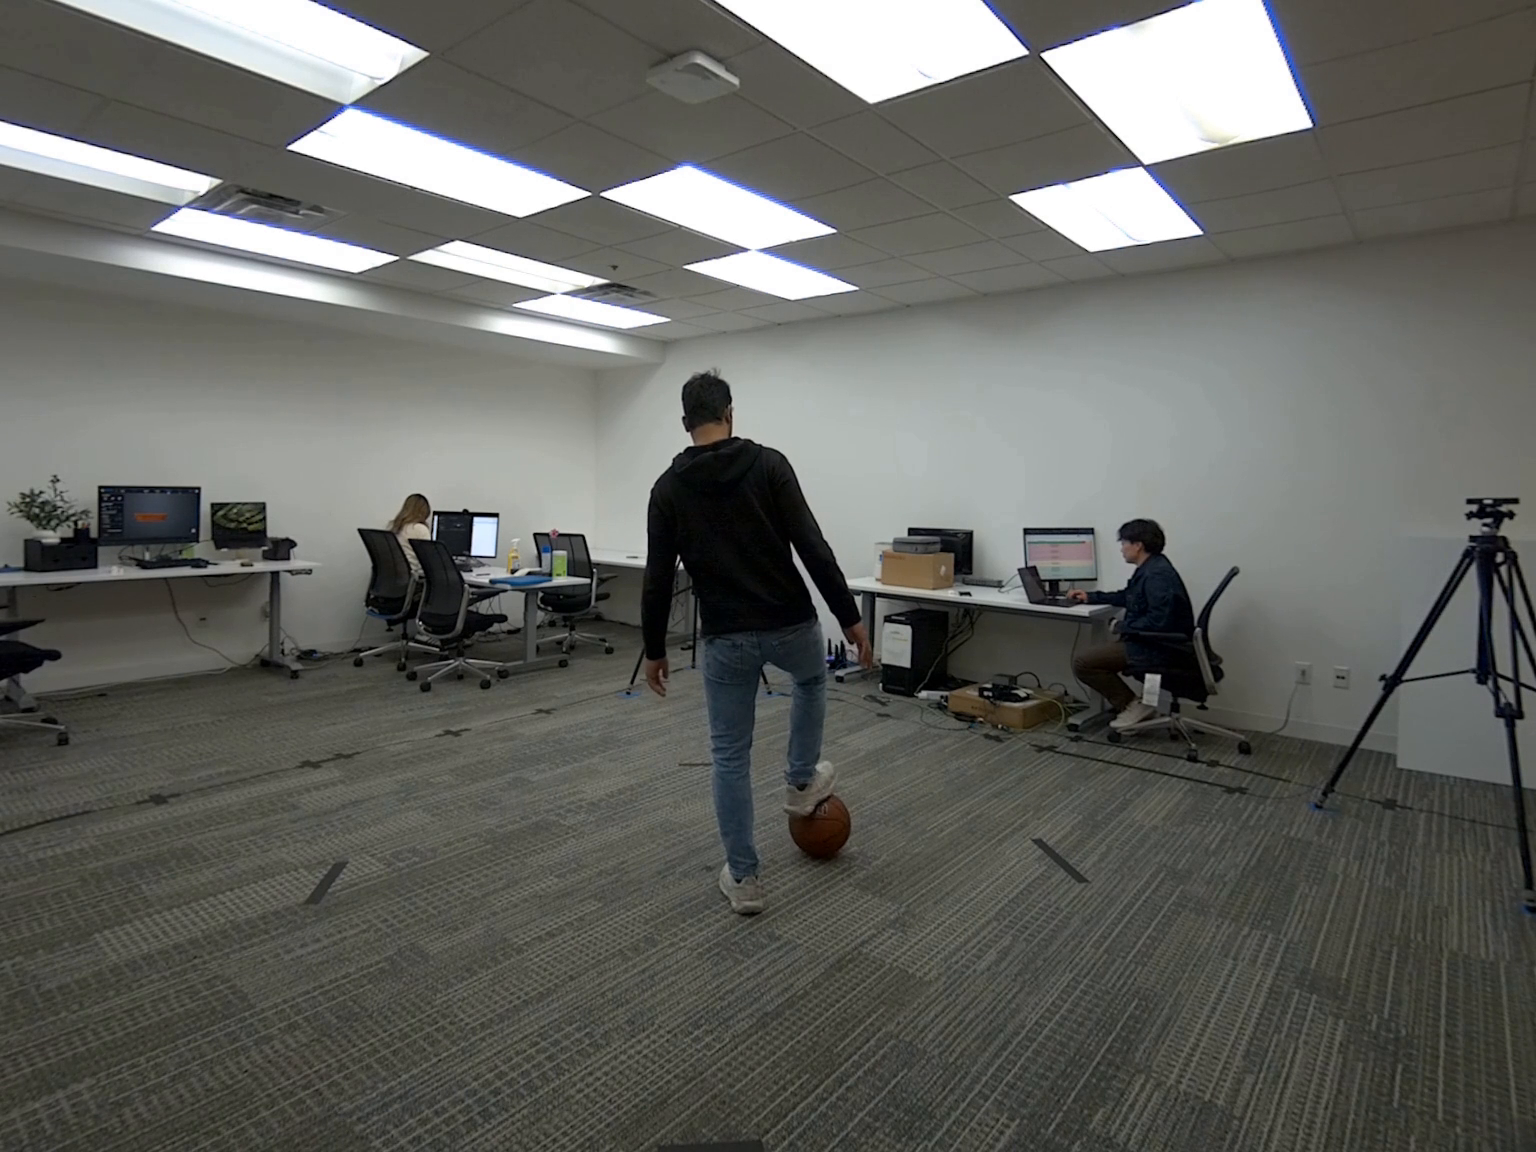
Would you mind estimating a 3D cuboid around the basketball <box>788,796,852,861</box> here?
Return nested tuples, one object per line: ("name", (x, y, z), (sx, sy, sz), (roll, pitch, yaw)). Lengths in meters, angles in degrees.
("basketball", (0.188, 0.941, 3.241), (0.235, 0.235, 0.237), (1, 4, -2))
